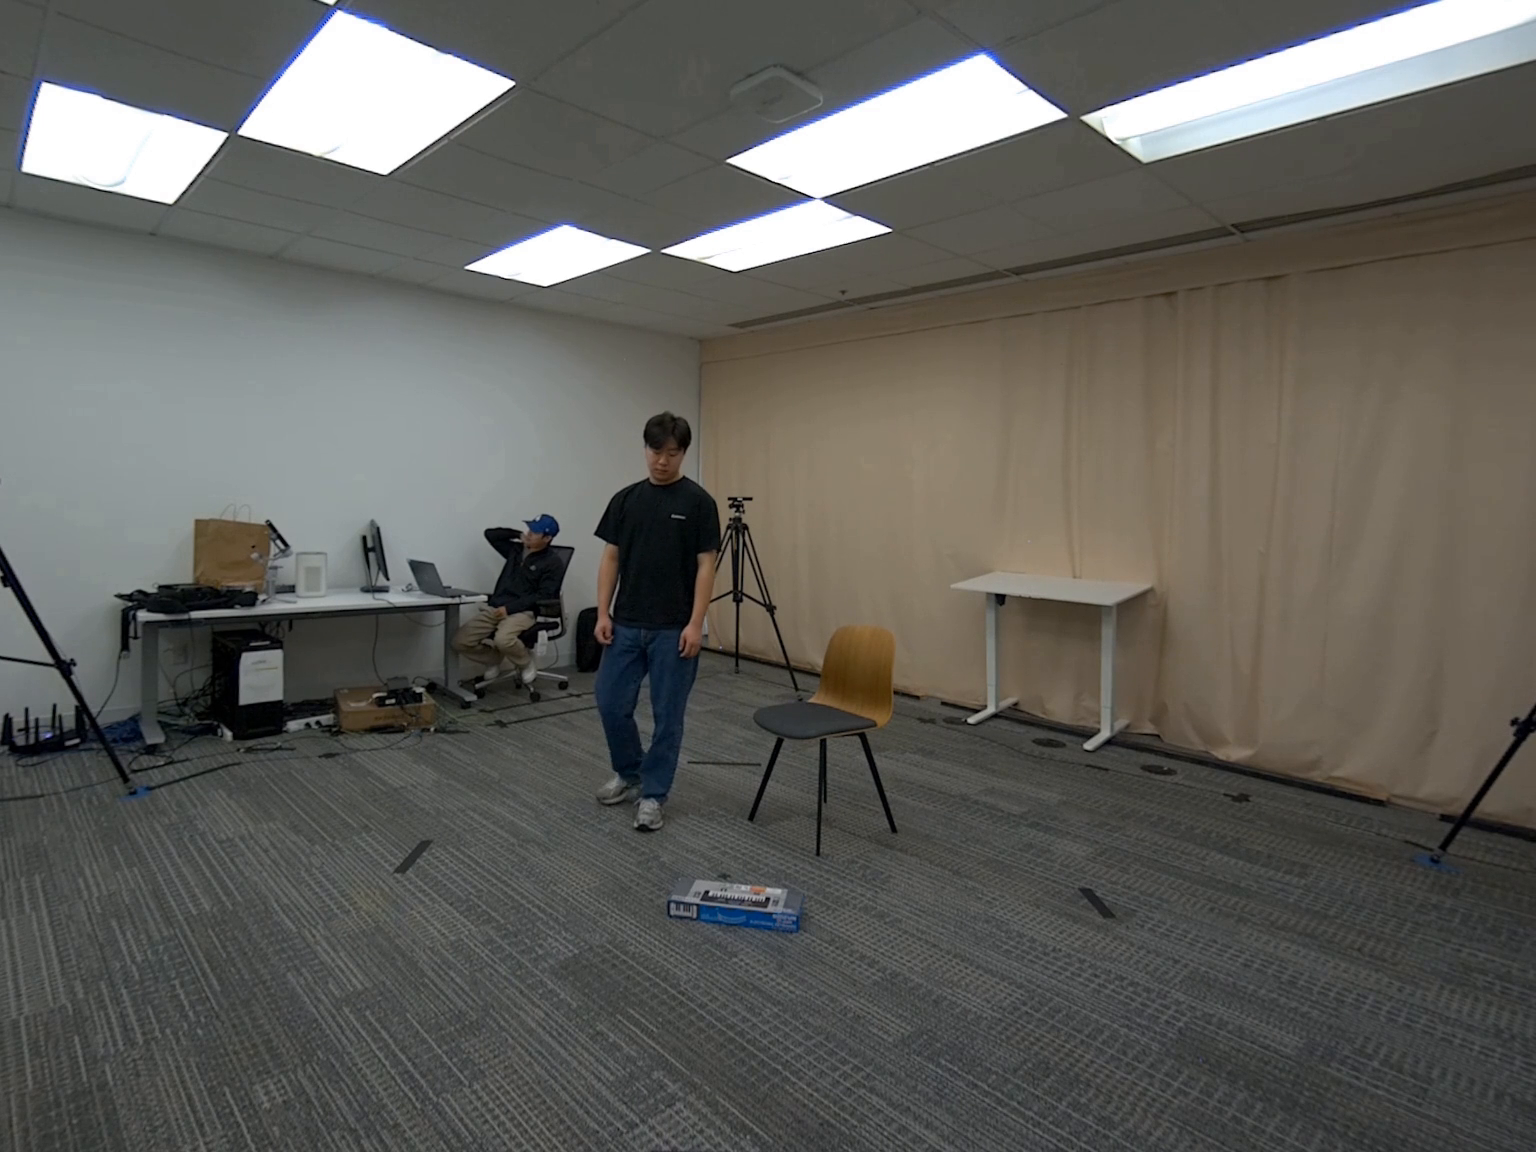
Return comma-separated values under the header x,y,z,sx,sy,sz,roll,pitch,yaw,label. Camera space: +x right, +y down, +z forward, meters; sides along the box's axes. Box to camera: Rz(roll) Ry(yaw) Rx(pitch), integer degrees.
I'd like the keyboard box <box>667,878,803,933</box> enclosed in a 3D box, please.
x,y,z,sx,sy,sz,roll,pitch,yaw,label
-0.111,1.105,2.826,0.441,0.059,0.175,2,5,11,keyboard box
